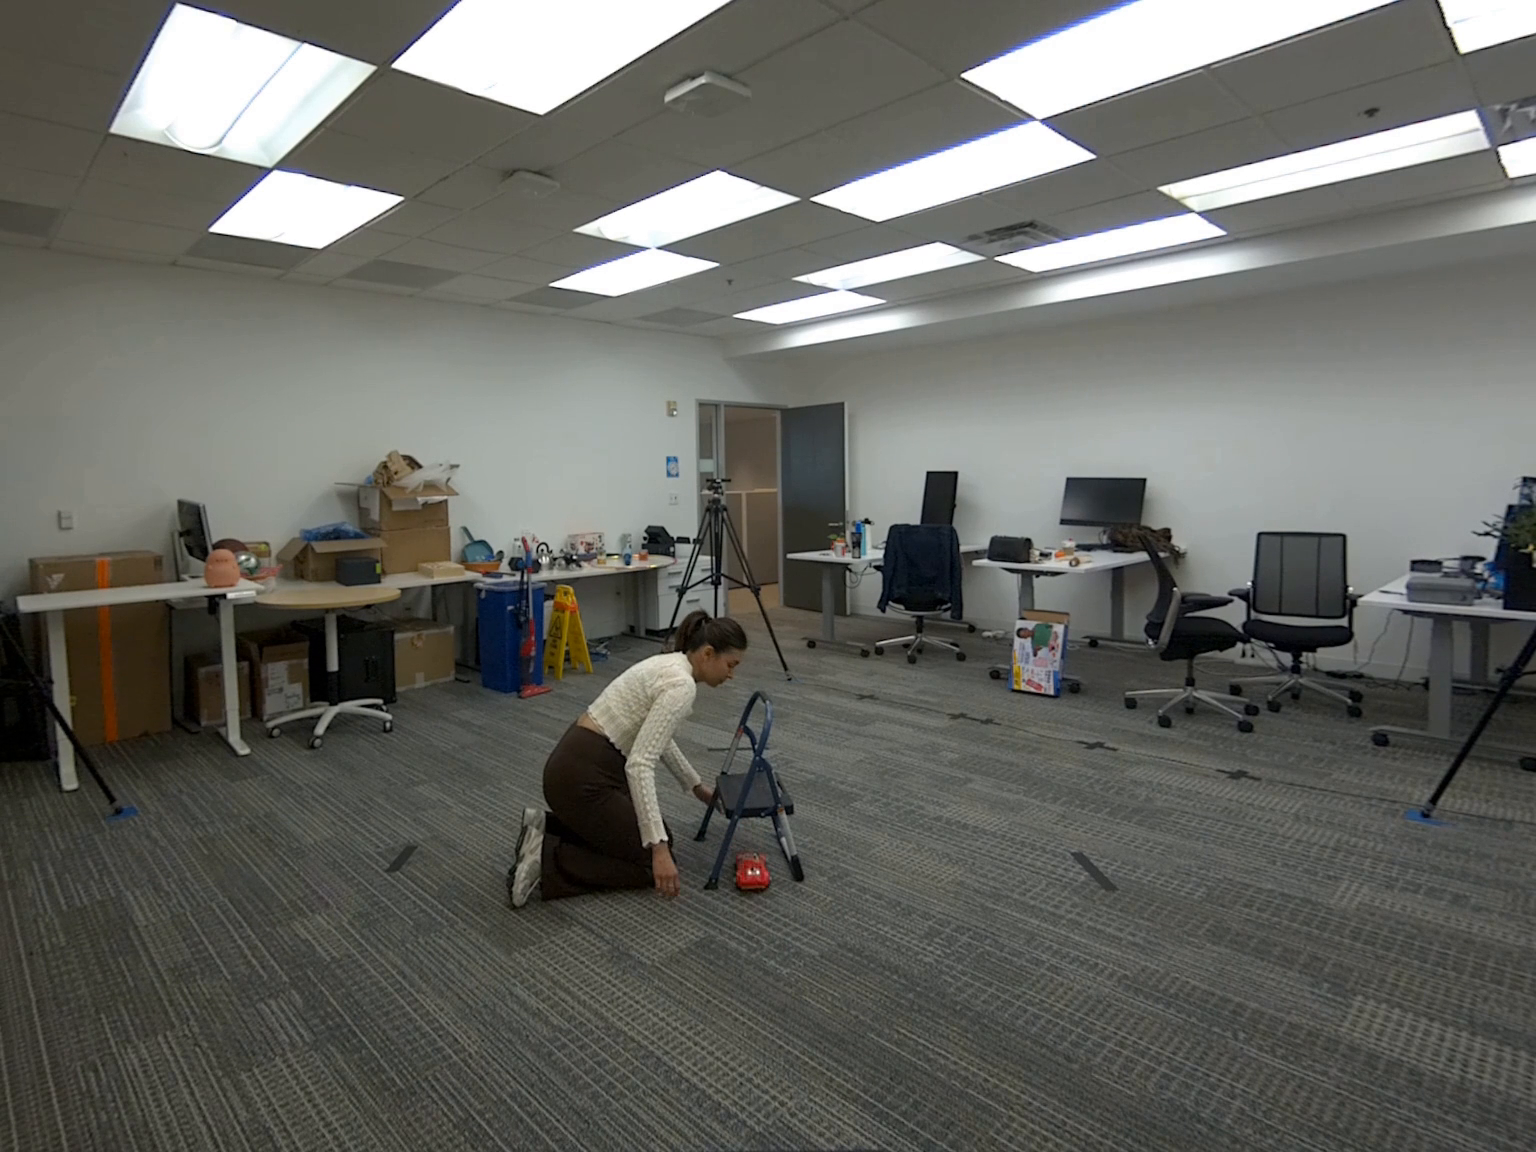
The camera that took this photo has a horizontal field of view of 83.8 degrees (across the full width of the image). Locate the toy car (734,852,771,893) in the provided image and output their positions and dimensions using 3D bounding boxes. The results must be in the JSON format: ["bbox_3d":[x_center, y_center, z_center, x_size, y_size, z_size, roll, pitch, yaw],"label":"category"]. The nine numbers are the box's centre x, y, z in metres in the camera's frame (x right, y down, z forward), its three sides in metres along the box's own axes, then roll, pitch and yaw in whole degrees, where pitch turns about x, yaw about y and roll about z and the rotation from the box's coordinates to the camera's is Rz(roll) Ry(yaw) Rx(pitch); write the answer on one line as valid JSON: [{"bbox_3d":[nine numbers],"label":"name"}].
[{"bbox_3d":[-0.067,1.031,3.023,0.130,0.084,0.253,3,-7,-4],"label":"toy car"}]
